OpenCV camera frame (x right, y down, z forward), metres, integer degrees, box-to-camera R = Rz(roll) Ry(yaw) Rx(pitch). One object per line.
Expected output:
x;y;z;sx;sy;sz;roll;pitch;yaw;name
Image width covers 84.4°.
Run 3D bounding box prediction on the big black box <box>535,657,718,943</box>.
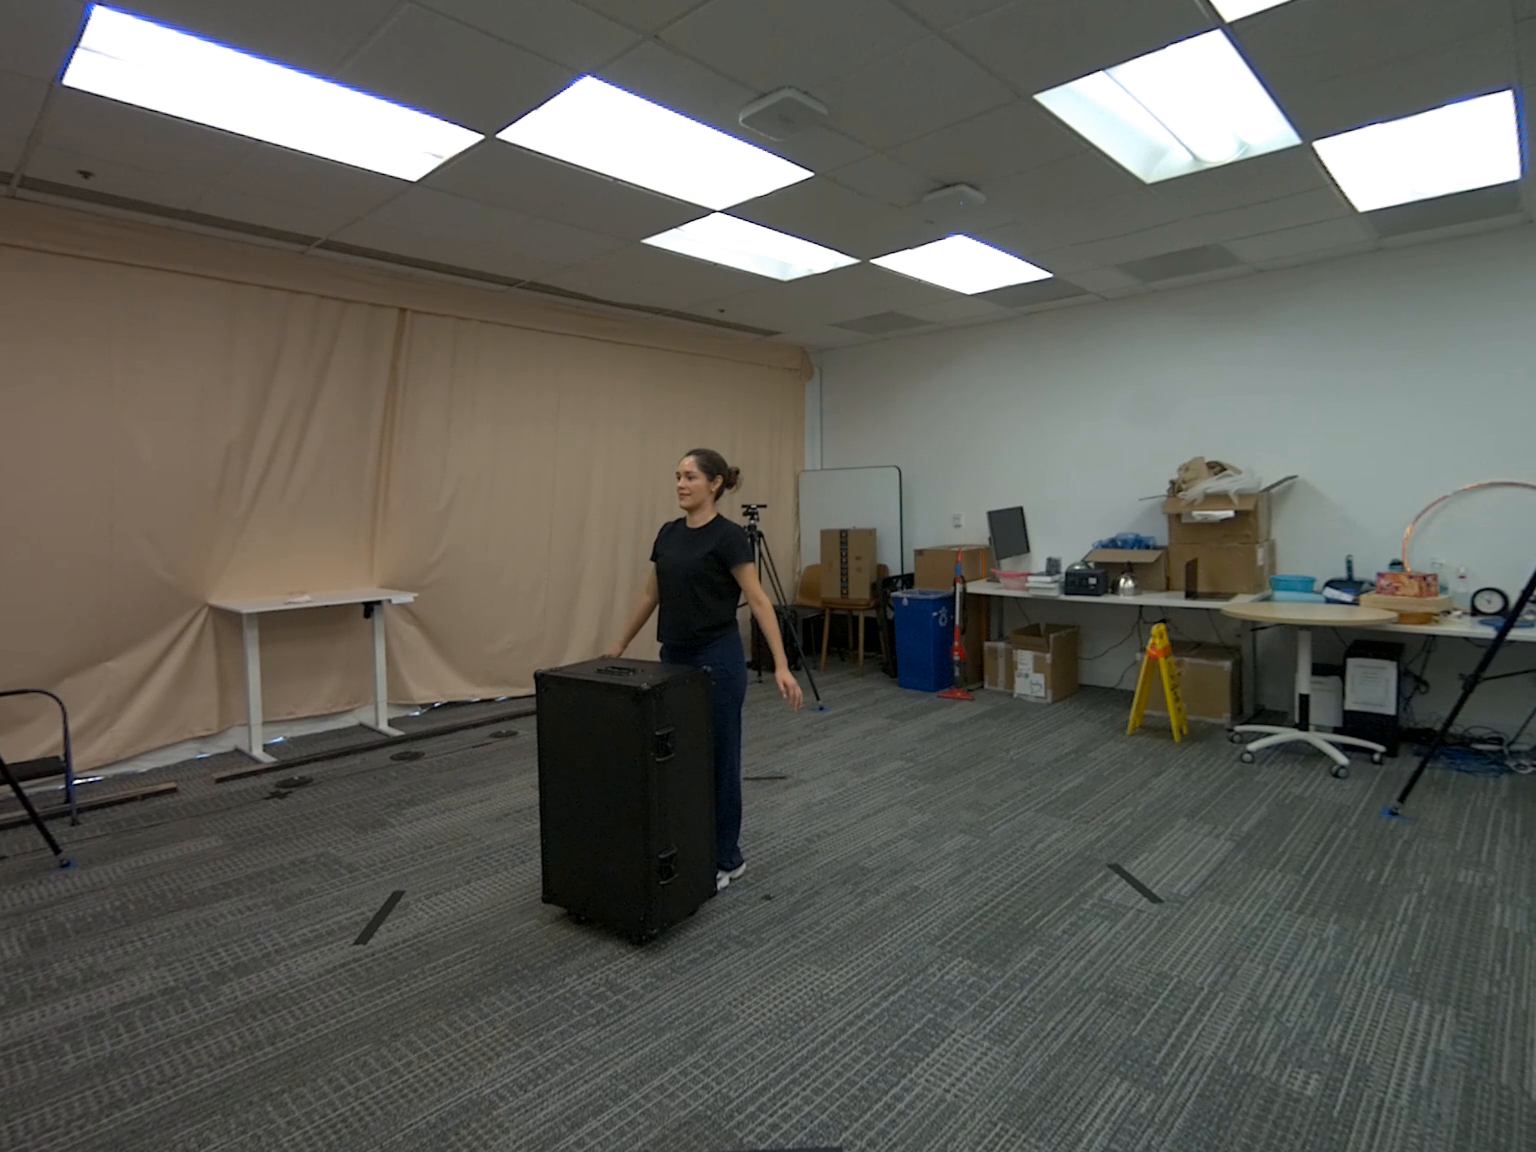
-0.454;0.683;2.839;0.537;0.860;0.385;0;3;33;big black box
